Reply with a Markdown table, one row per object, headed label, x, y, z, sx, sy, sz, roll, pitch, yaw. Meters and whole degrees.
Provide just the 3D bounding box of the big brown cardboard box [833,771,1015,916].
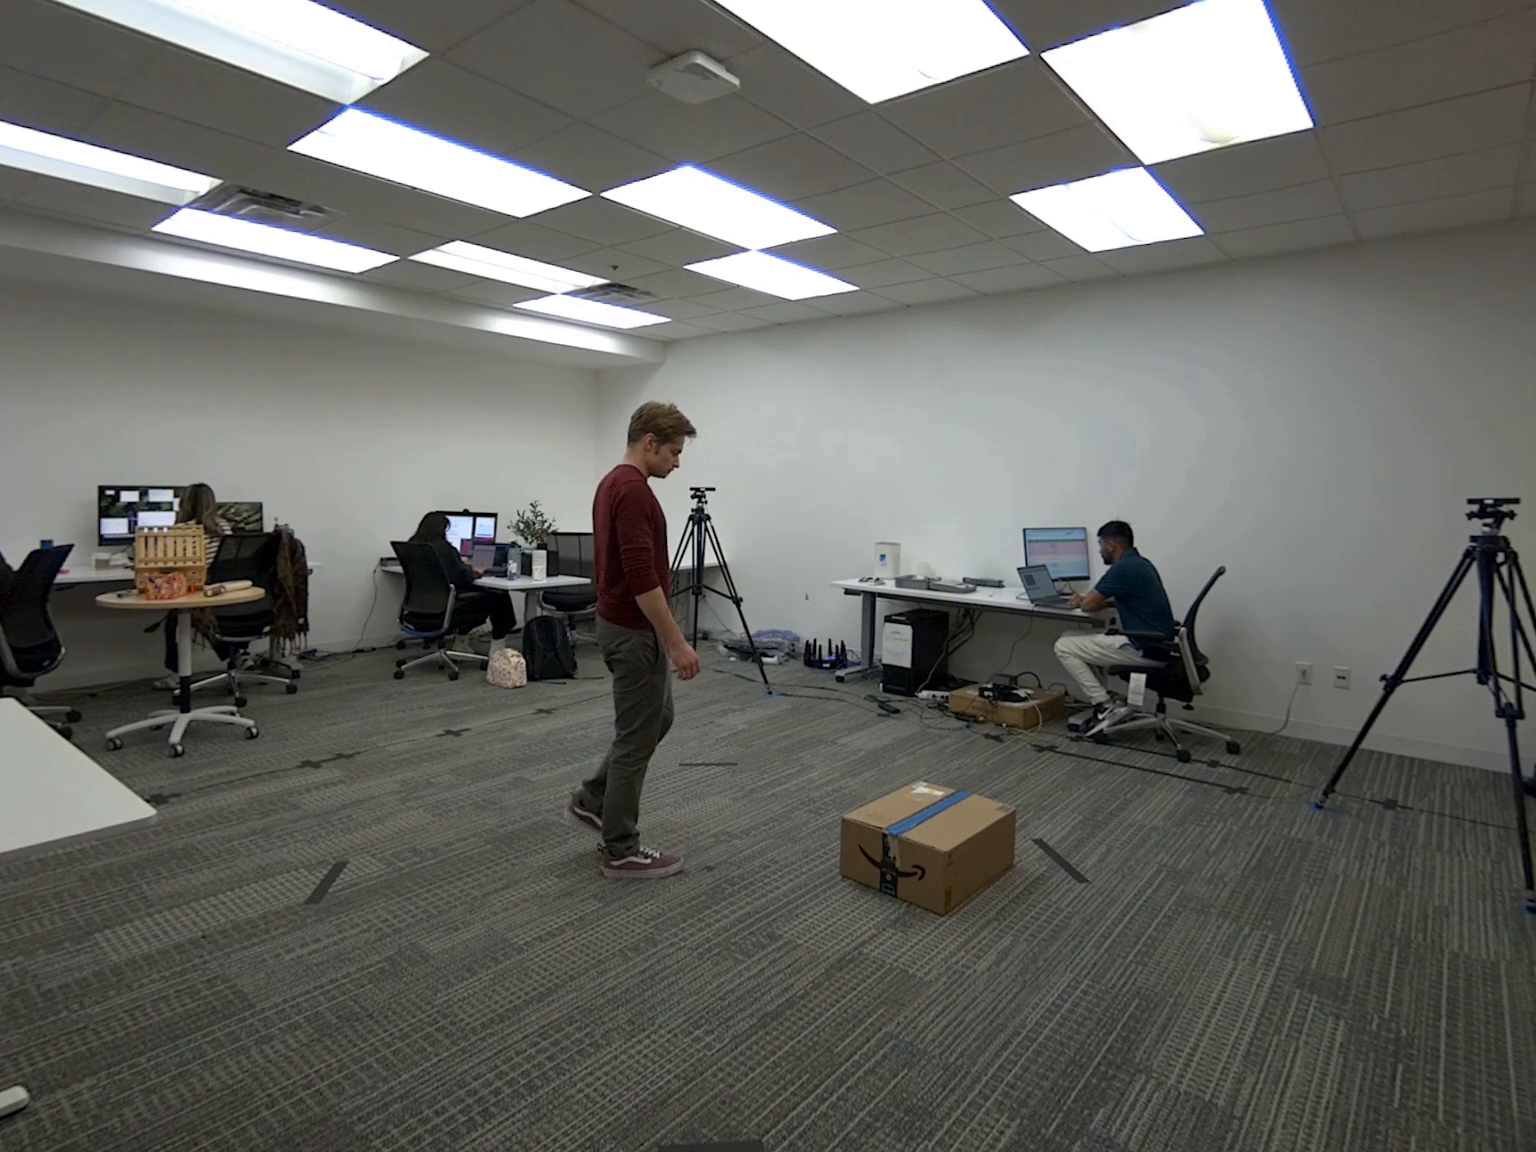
| label | x | y | z | sx | sy | sz | roll | pitch | yaw |
| --- | --- | --- | --- | --- | --- | --- | --- | --- | --- |
| big brown cardboard box | 0.588 | 0.965 | 3.134 | 0.432 | 0.232 | 0.572 | 6 | 8 | 40 |
